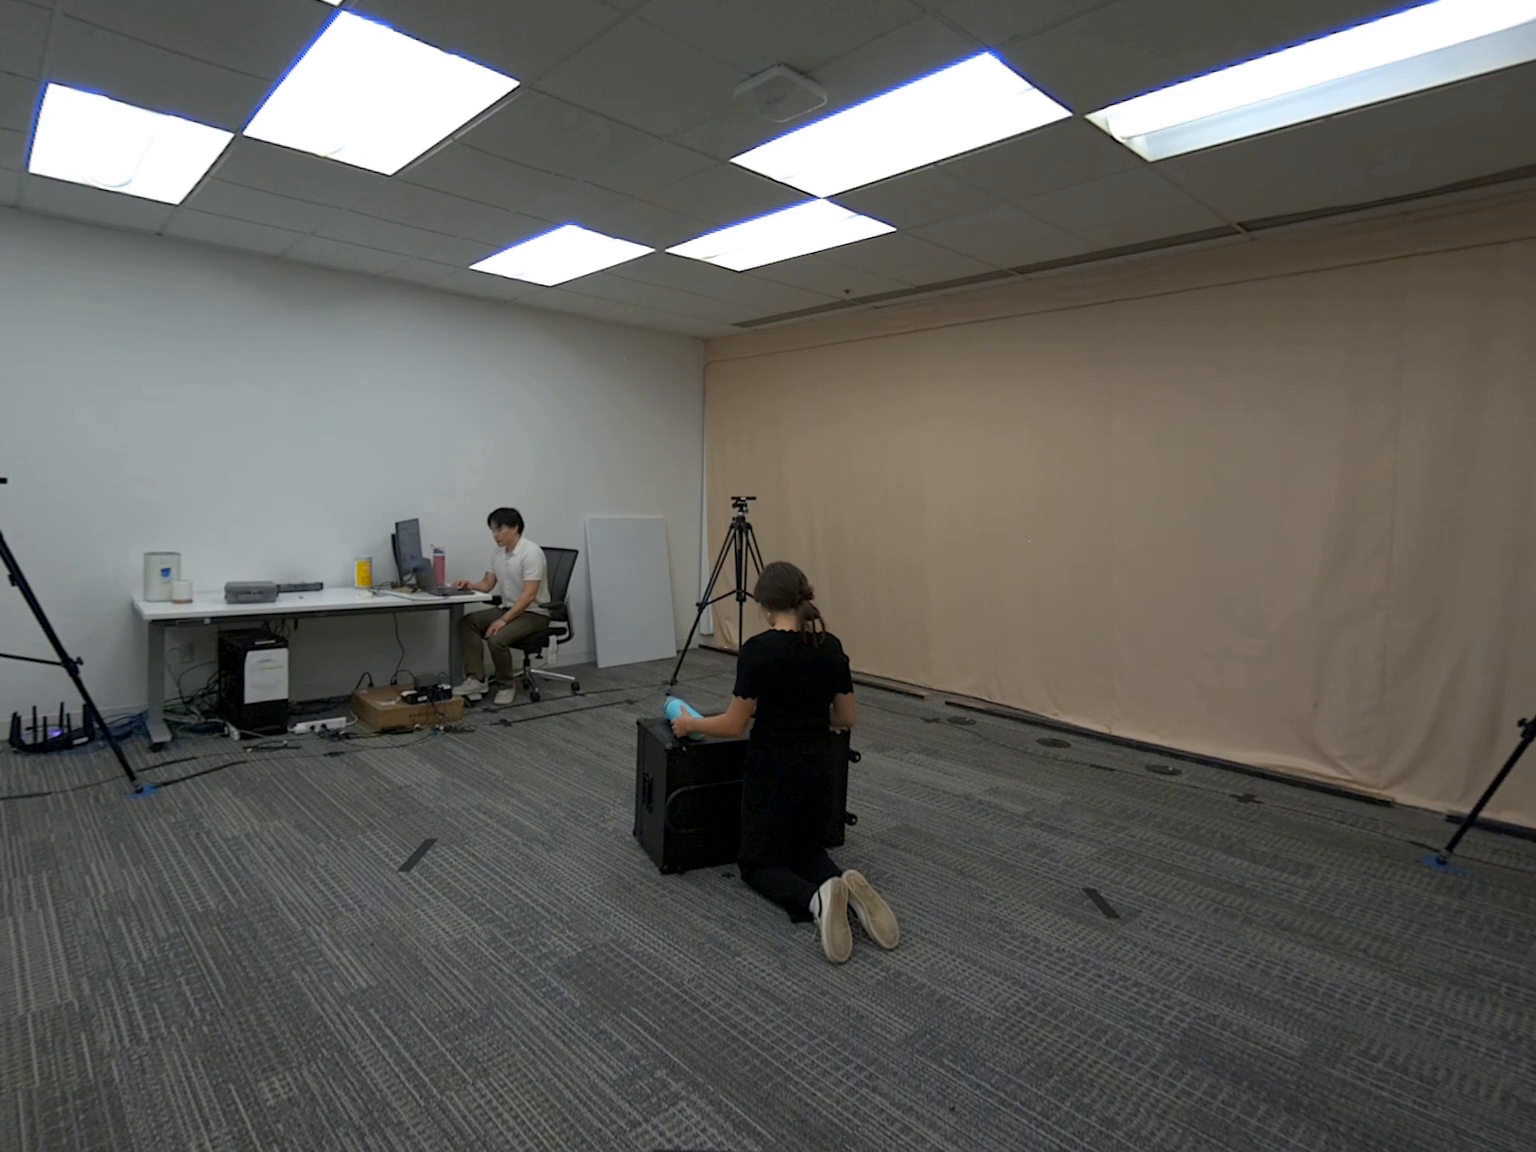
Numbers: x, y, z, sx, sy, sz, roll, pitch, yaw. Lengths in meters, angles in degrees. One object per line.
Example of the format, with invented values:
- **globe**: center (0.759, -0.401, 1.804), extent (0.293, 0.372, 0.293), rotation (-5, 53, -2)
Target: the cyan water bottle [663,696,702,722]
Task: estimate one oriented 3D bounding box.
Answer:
- **cyan water bottle**: center (-0.331, 0.540, 3.266), extent (0.090, 0.092, 0.290), rotation (-1, 11, -28)
